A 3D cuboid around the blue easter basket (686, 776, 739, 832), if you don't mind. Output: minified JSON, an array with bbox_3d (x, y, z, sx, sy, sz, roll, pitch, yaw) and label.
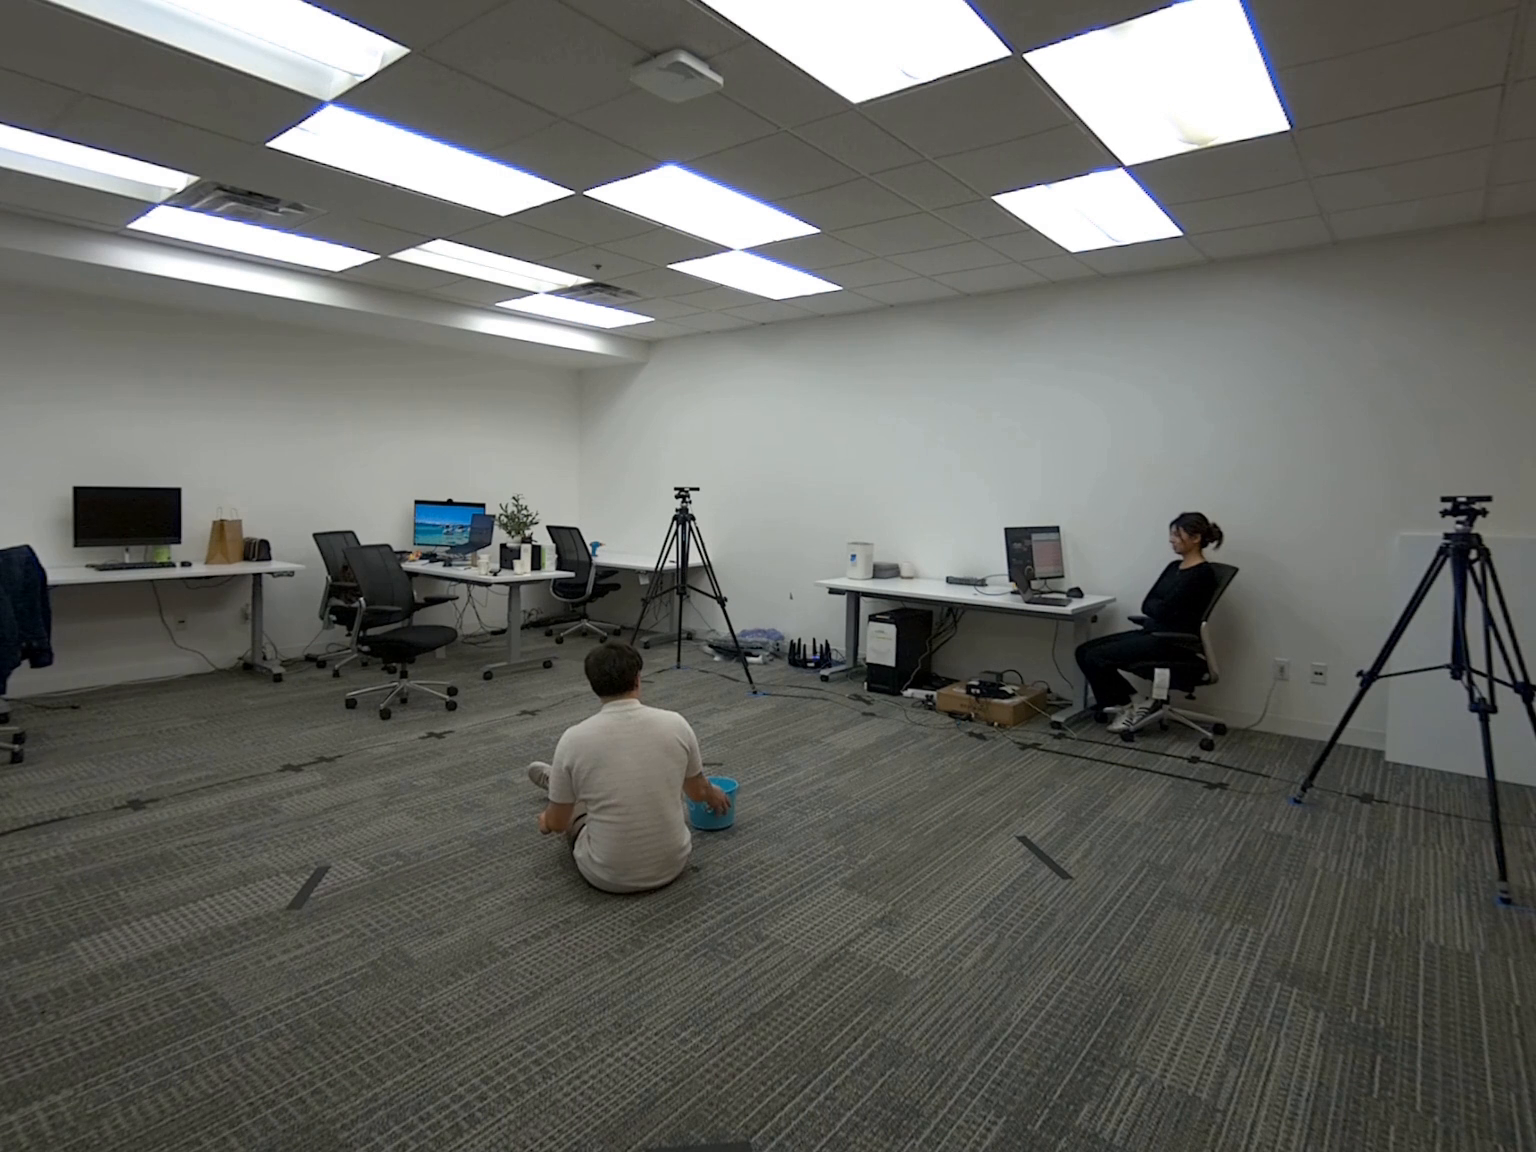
[{"bbox_3d":[-0.247,0.938,3.544,0.243,0.155,0.244,-1,4,-2],"label":"blue easter basket"}]
